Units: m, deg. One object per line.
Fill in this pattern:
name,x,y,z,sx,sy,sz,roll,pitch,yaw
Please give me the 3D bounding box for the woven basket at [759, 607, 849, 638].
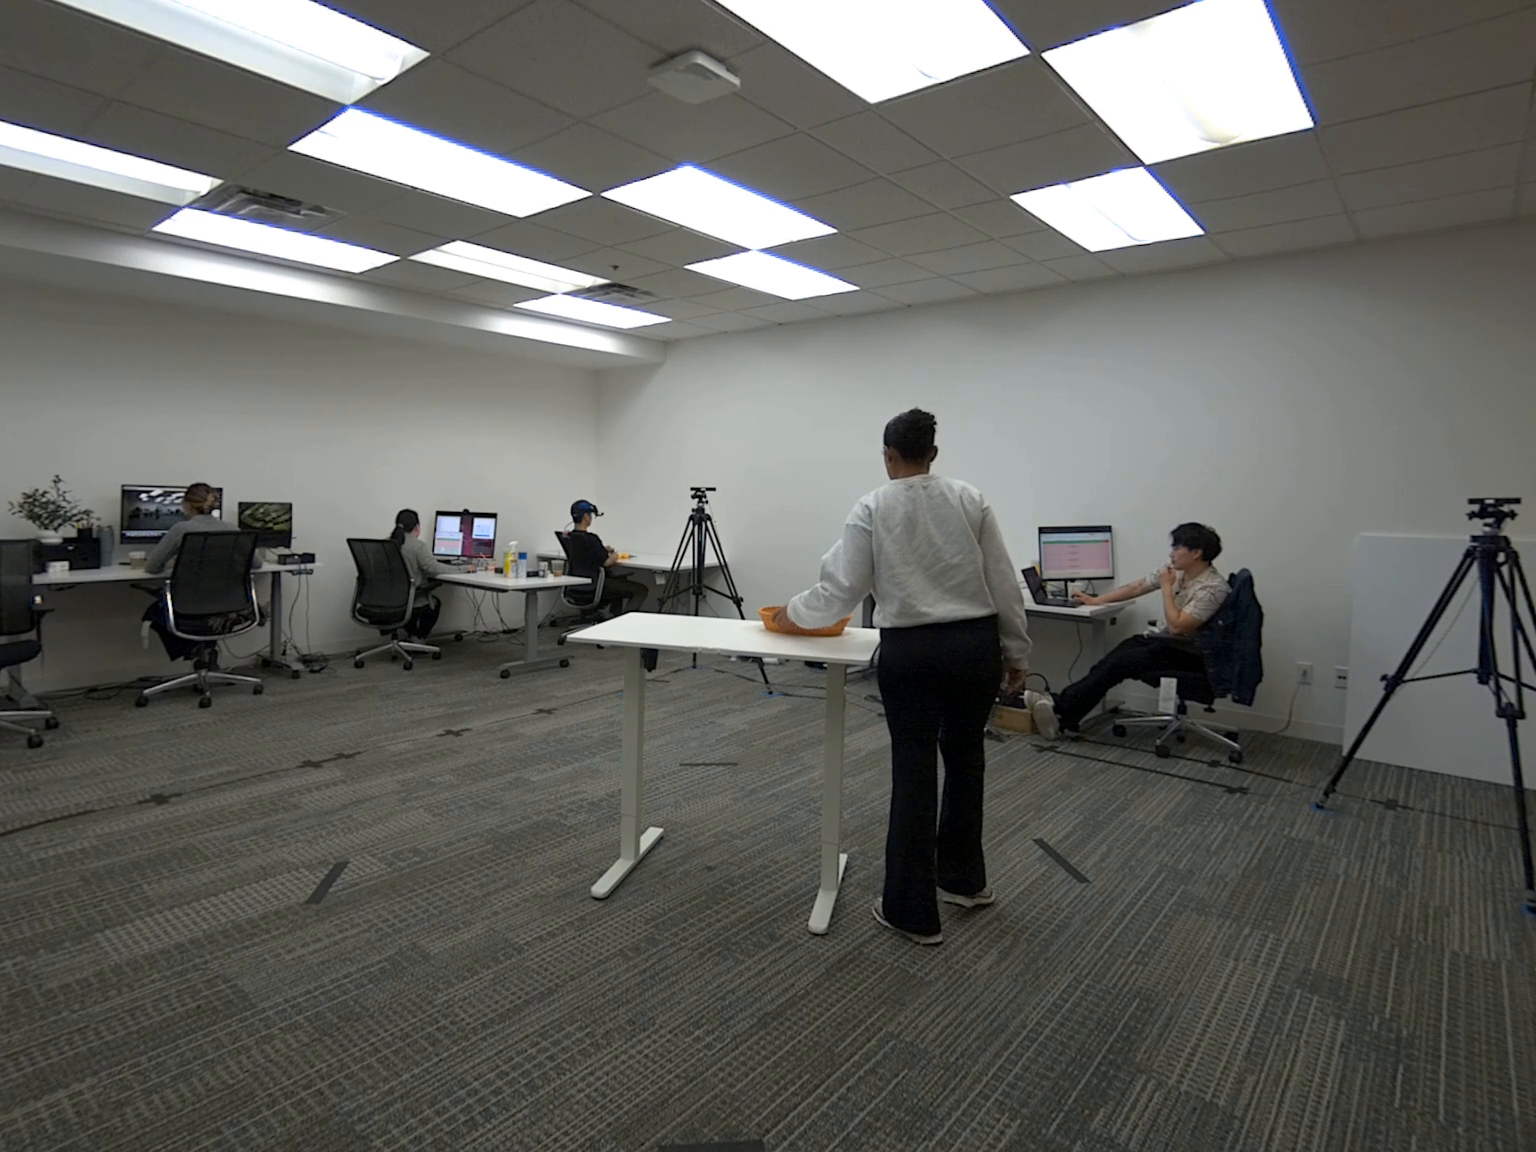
woven basket,0.129,0.162,3.072,0.358,0.073,0.247,3,5,21
